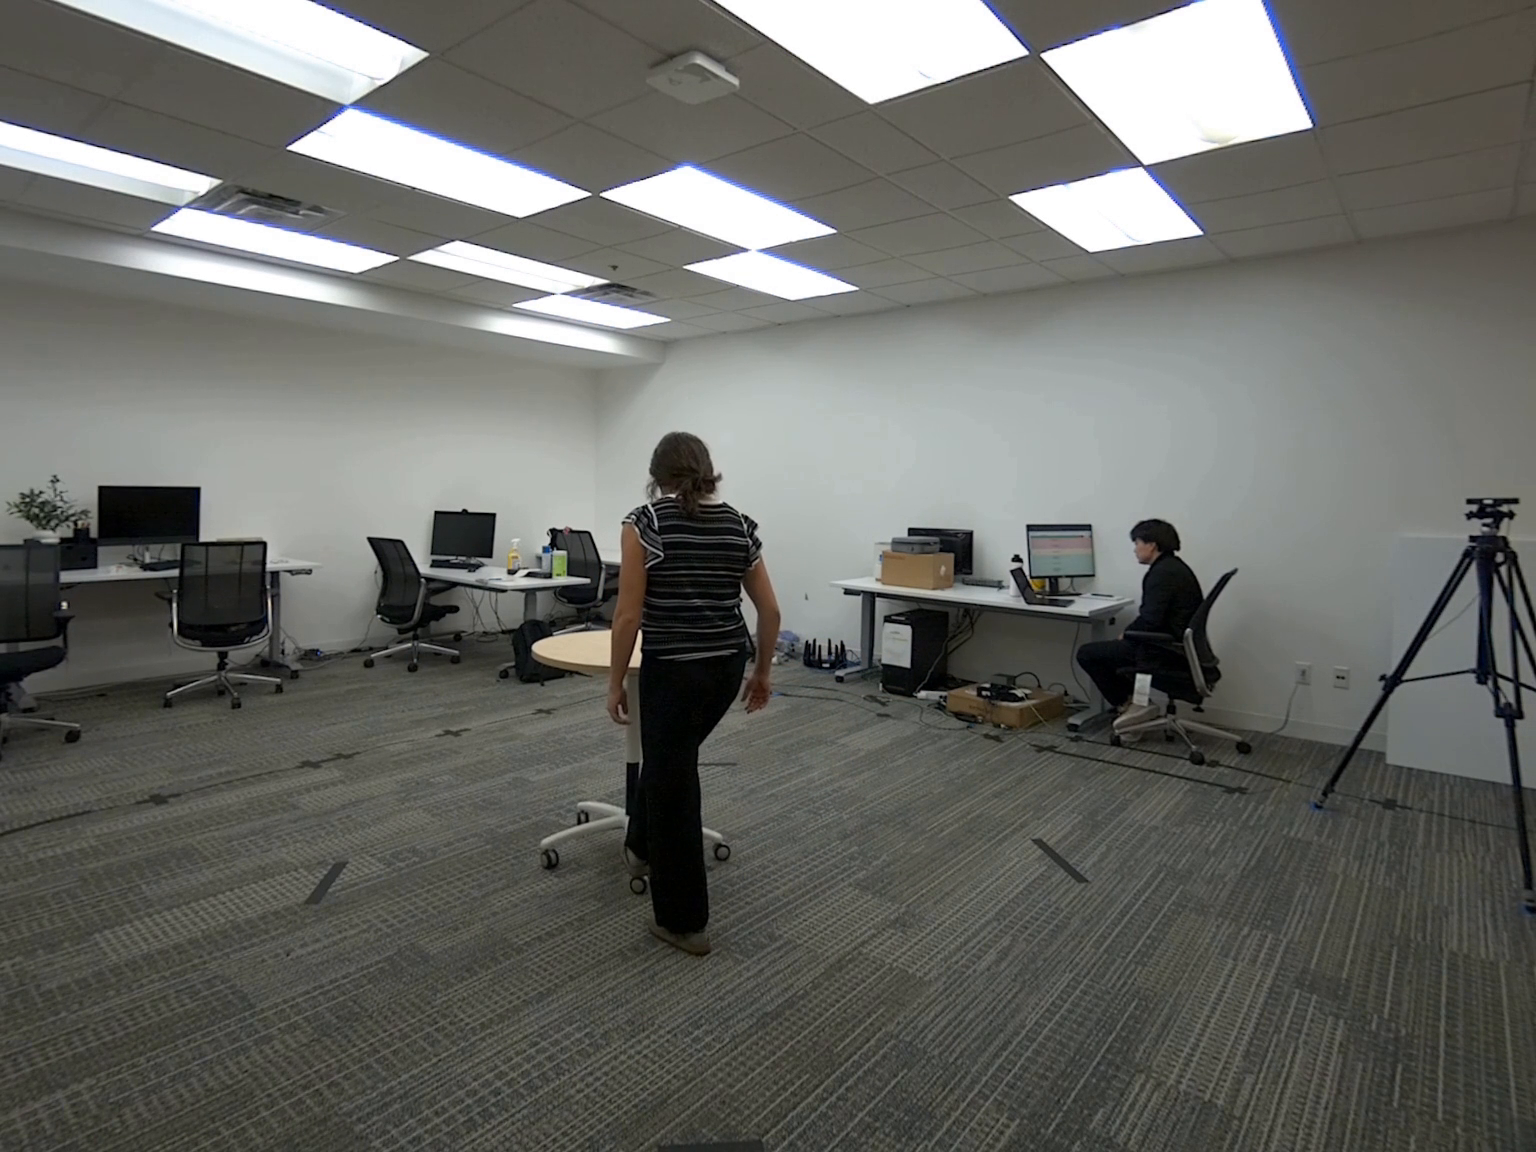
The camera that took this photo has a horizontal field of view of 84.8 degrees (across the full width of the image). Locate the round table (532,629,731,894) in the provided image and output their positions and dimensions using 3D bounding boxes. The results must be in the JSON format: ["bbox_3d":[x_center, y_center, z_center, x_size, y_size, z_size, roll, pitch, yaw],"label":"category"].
[{"bbox_3d":[-0.534,0.655,3.229,0.784,0.784,0.789,1,4,-2],"label":"round table"}]
